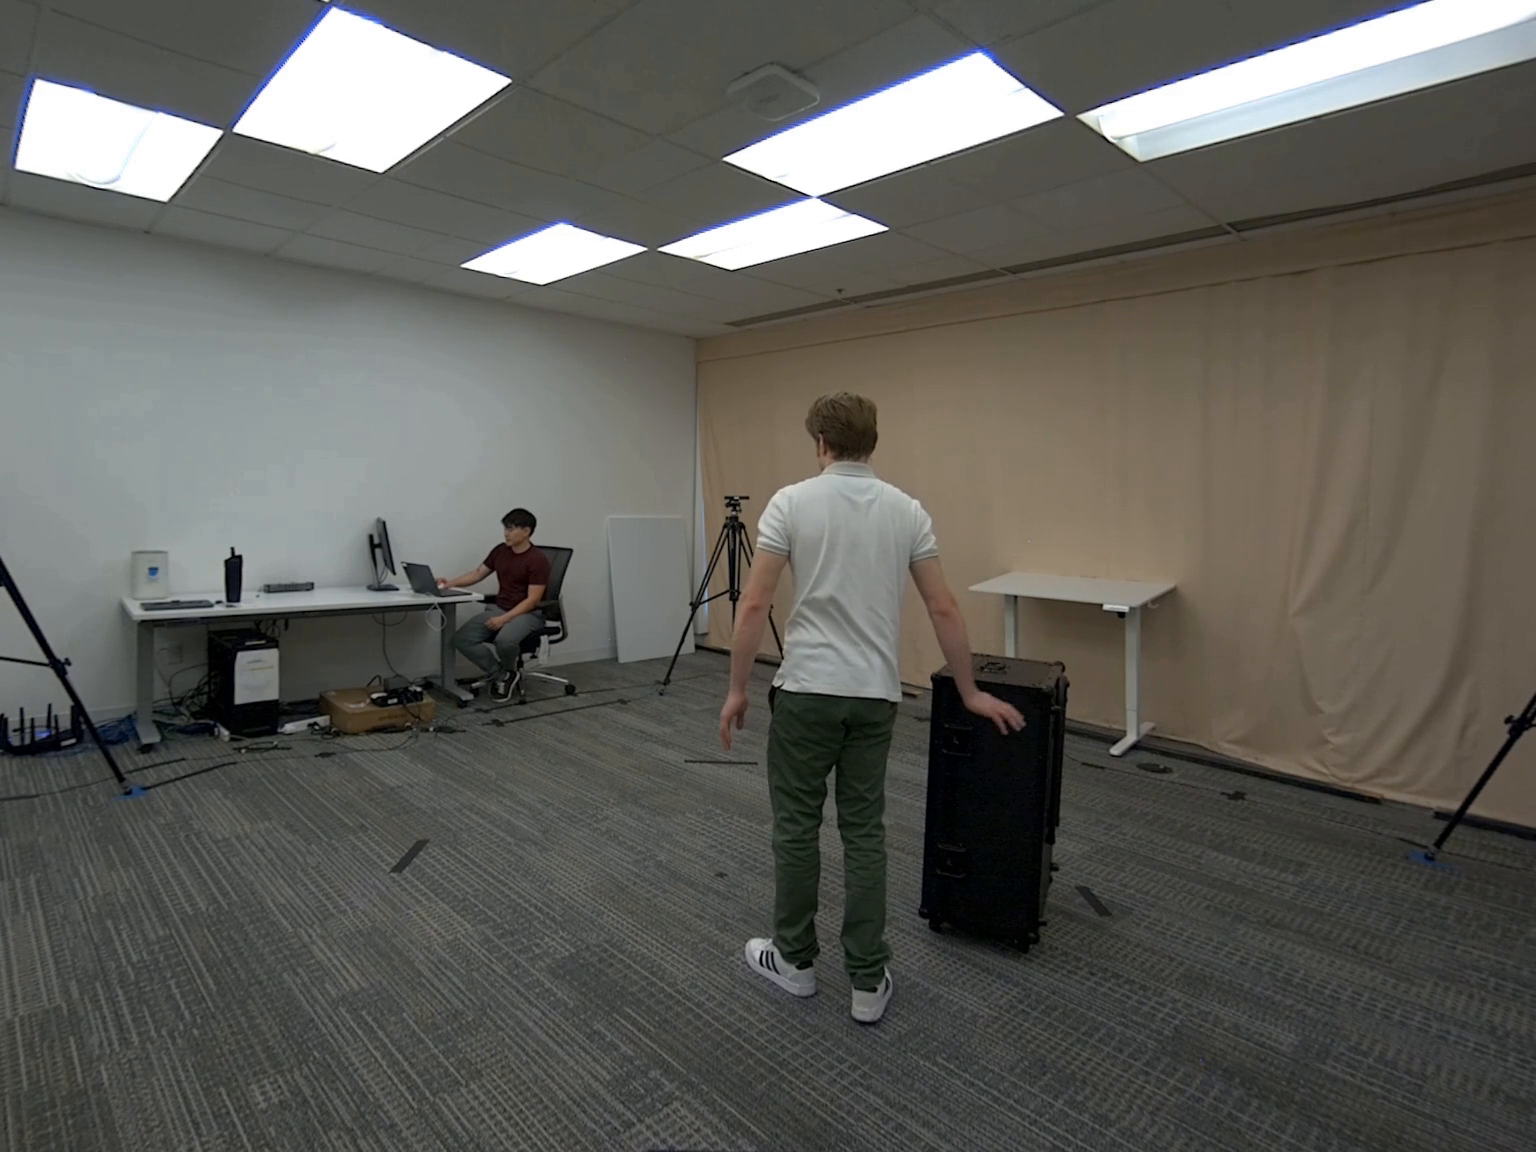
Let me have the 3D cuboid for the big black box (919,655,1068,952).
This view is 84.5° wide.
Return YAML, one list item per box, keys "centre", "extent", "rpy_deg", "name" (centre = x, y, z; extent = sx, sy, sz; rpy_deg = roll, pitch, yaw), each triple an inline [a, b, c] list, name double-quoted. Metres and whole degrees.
- centre: [0.755, 0.730, 2.802]
  extent: [0.392, 0.866, 0.515]
  rpy_deg: [3, 4, 23]
  name: "big black box"
